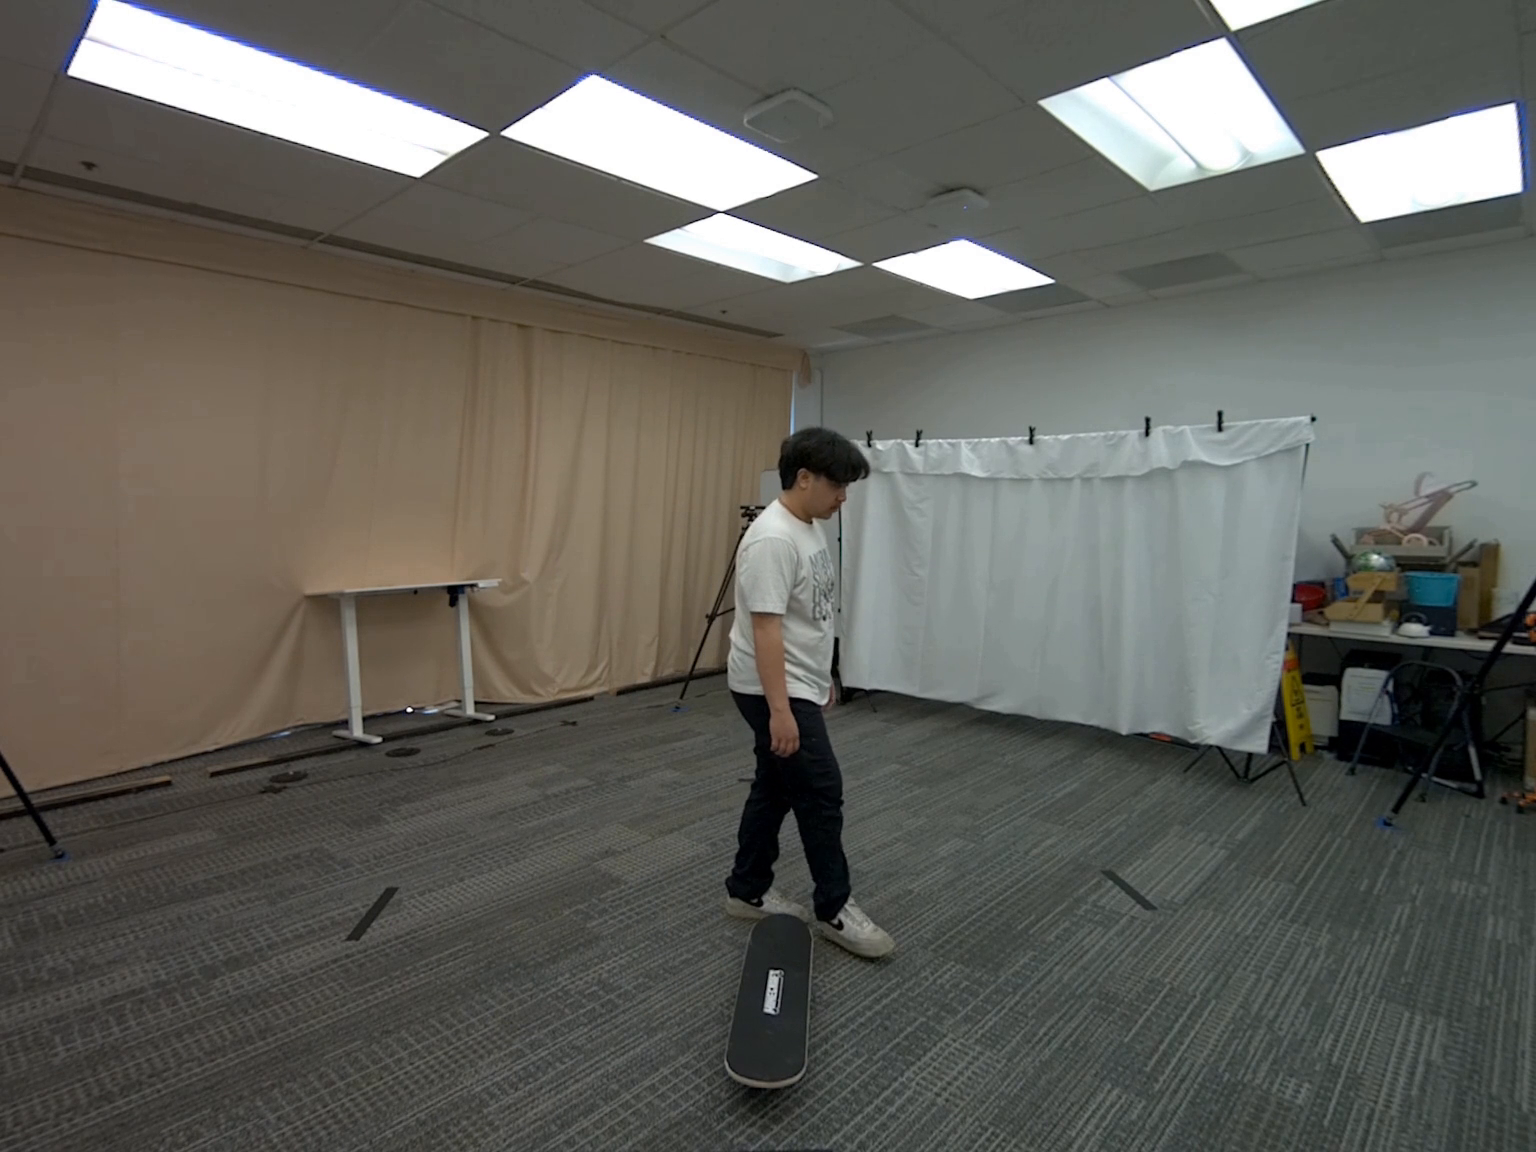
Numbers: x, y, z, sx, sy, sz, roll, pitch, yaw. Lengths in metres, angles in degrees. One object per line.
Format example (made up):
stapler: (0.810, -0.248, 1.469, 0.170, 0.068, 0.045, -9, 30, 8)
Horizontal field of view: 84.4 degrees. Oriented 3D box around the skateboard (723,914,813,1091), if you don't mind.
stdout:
skateboard: (0.021, 1.147, 2.266, 0.195, 0.110, 0.781, 1, 4, 5)
